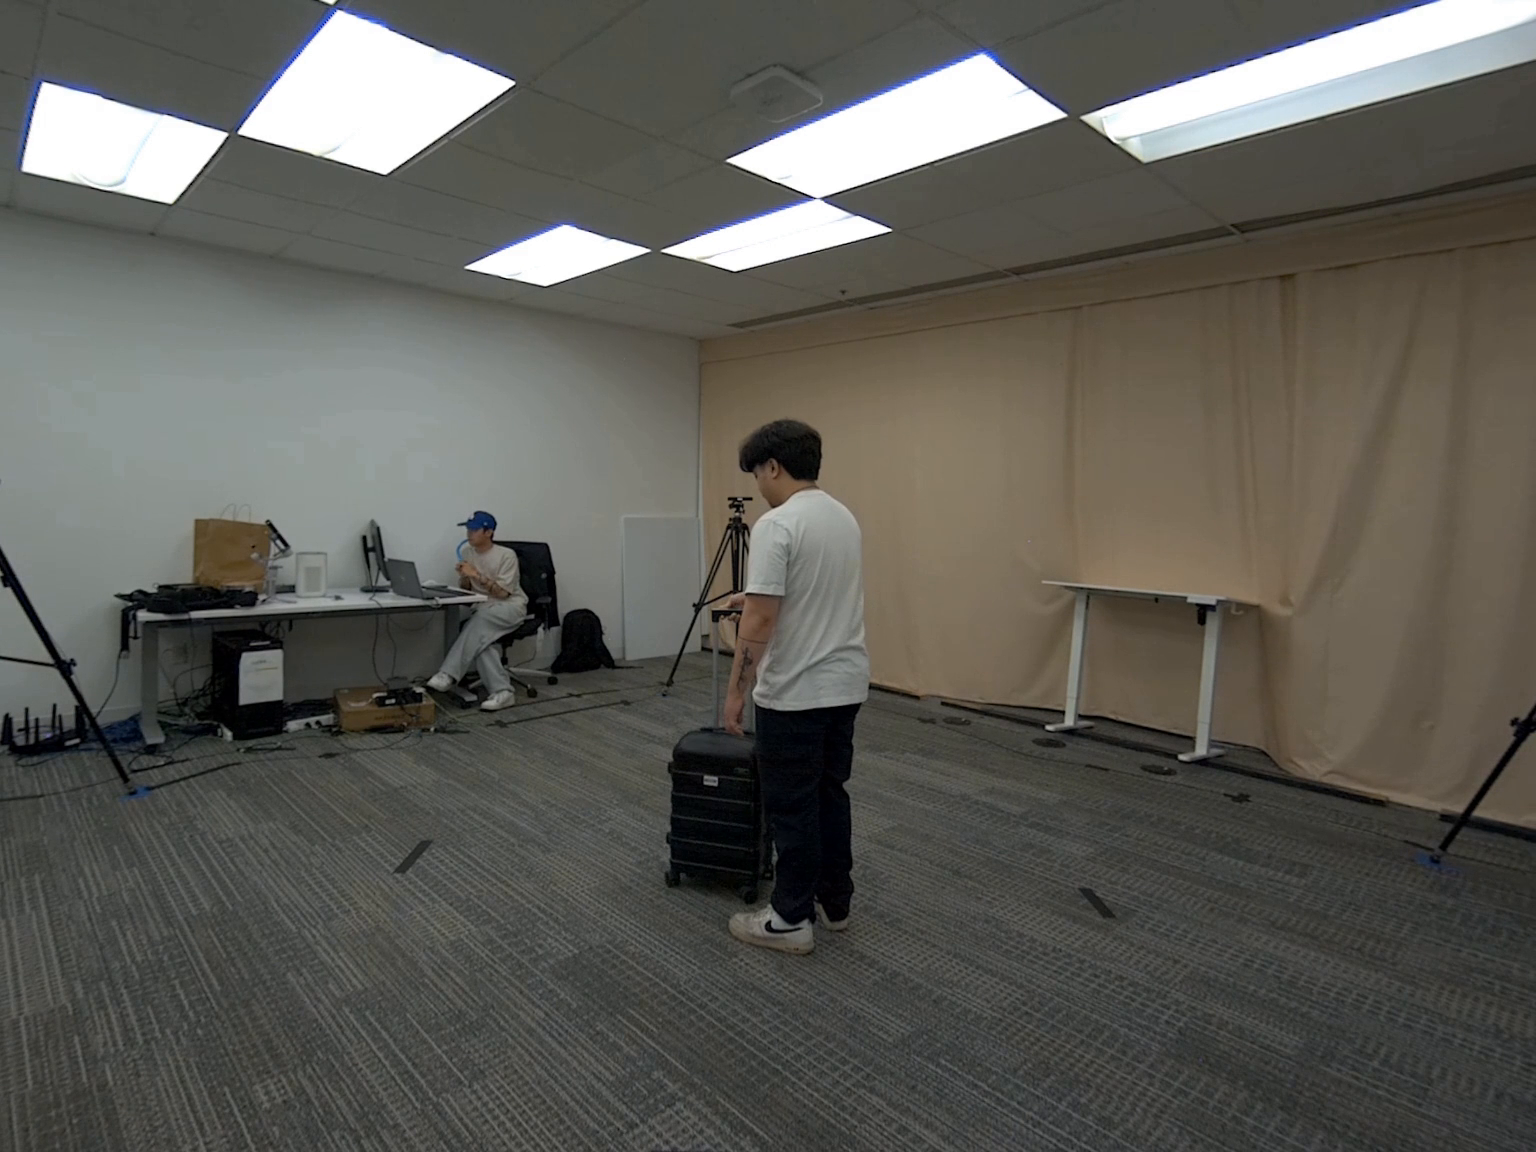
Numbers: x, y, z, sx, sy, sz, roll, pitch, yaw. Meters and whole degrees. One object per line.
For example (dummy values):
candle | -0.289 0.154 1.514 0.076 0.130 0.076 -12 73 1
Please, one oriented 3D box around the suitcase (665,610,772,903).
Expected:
suitcase | -0.162 0.643 3.030 0.389 0.975 0.254 3 5 16
